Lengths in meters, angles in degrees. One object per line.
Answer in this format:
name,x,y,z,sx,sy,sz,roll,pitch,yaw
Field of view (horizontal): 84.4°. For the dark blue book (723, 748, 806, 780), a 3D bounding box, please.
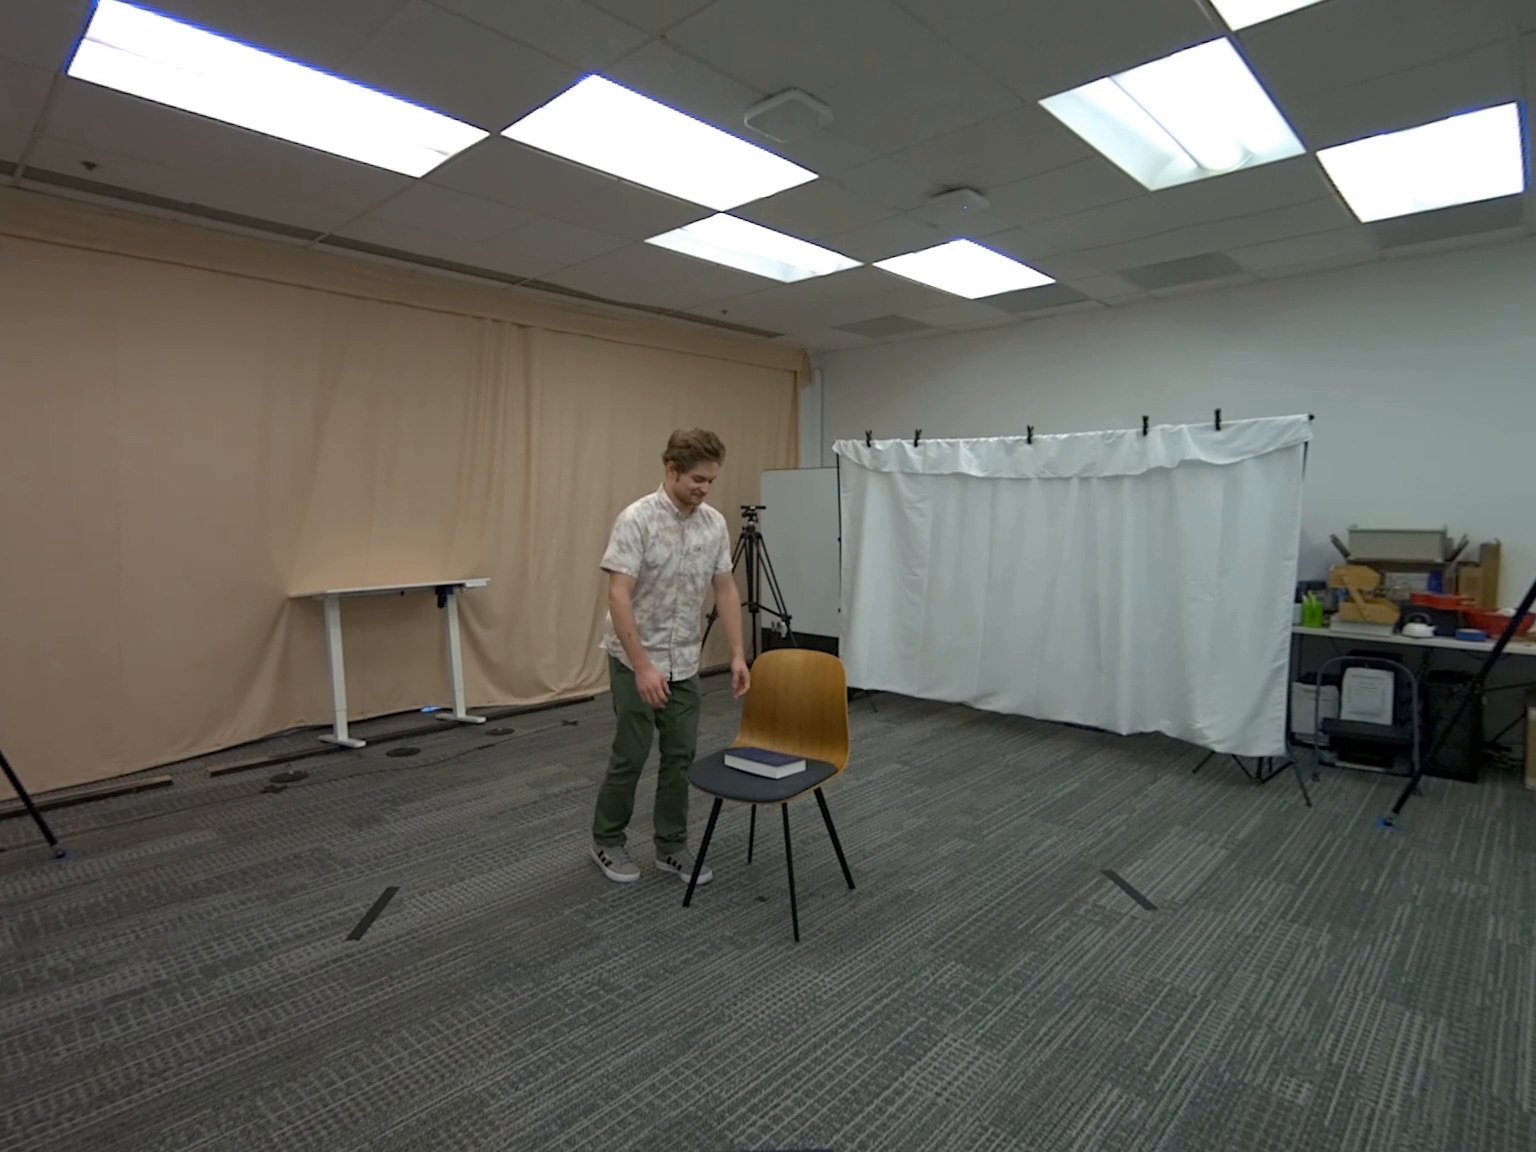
dark blue book,-0.009,0.641,2.925,0.253,0.045,0.158,4,3,41
